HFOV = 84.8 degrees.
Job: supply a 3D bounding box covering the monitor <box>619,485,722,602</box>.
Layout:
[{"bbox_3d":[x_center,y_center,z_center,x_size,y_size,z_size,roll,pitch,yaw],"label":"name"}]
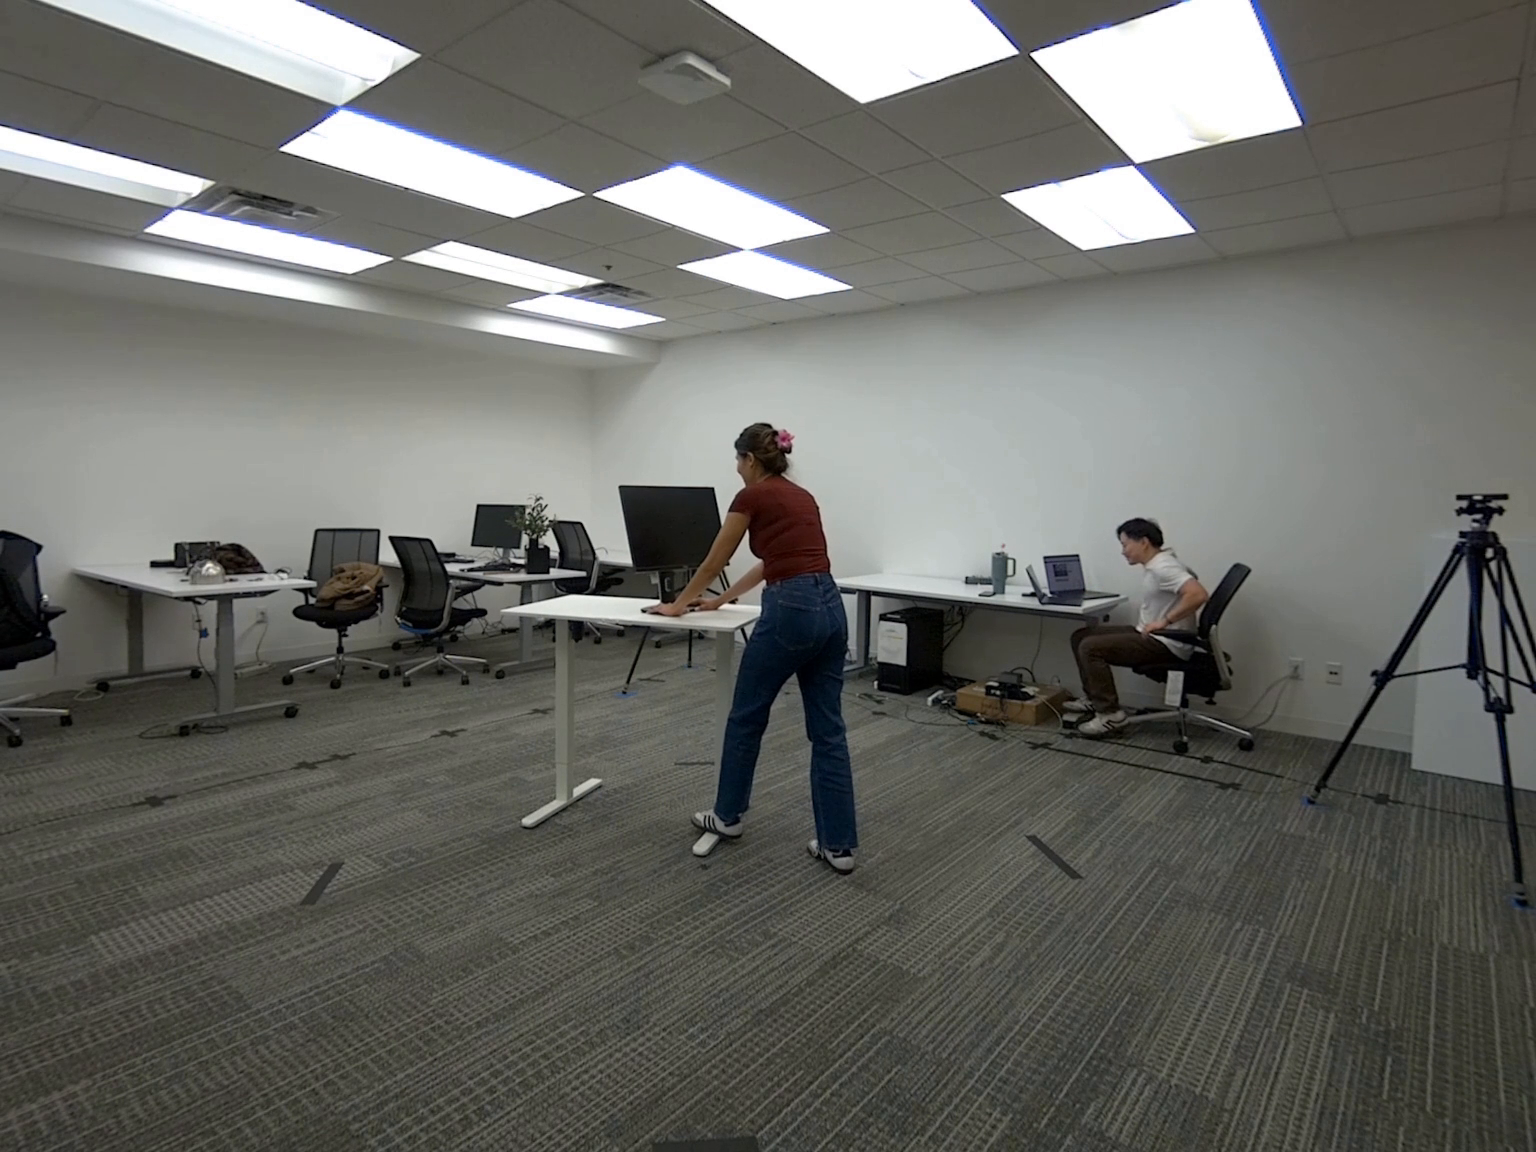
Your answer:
[{"bbox_3d":[-0.408,-0.112,3.526,0.193,0.522,0.523,-2,2,38],"label":"monitor"}]
